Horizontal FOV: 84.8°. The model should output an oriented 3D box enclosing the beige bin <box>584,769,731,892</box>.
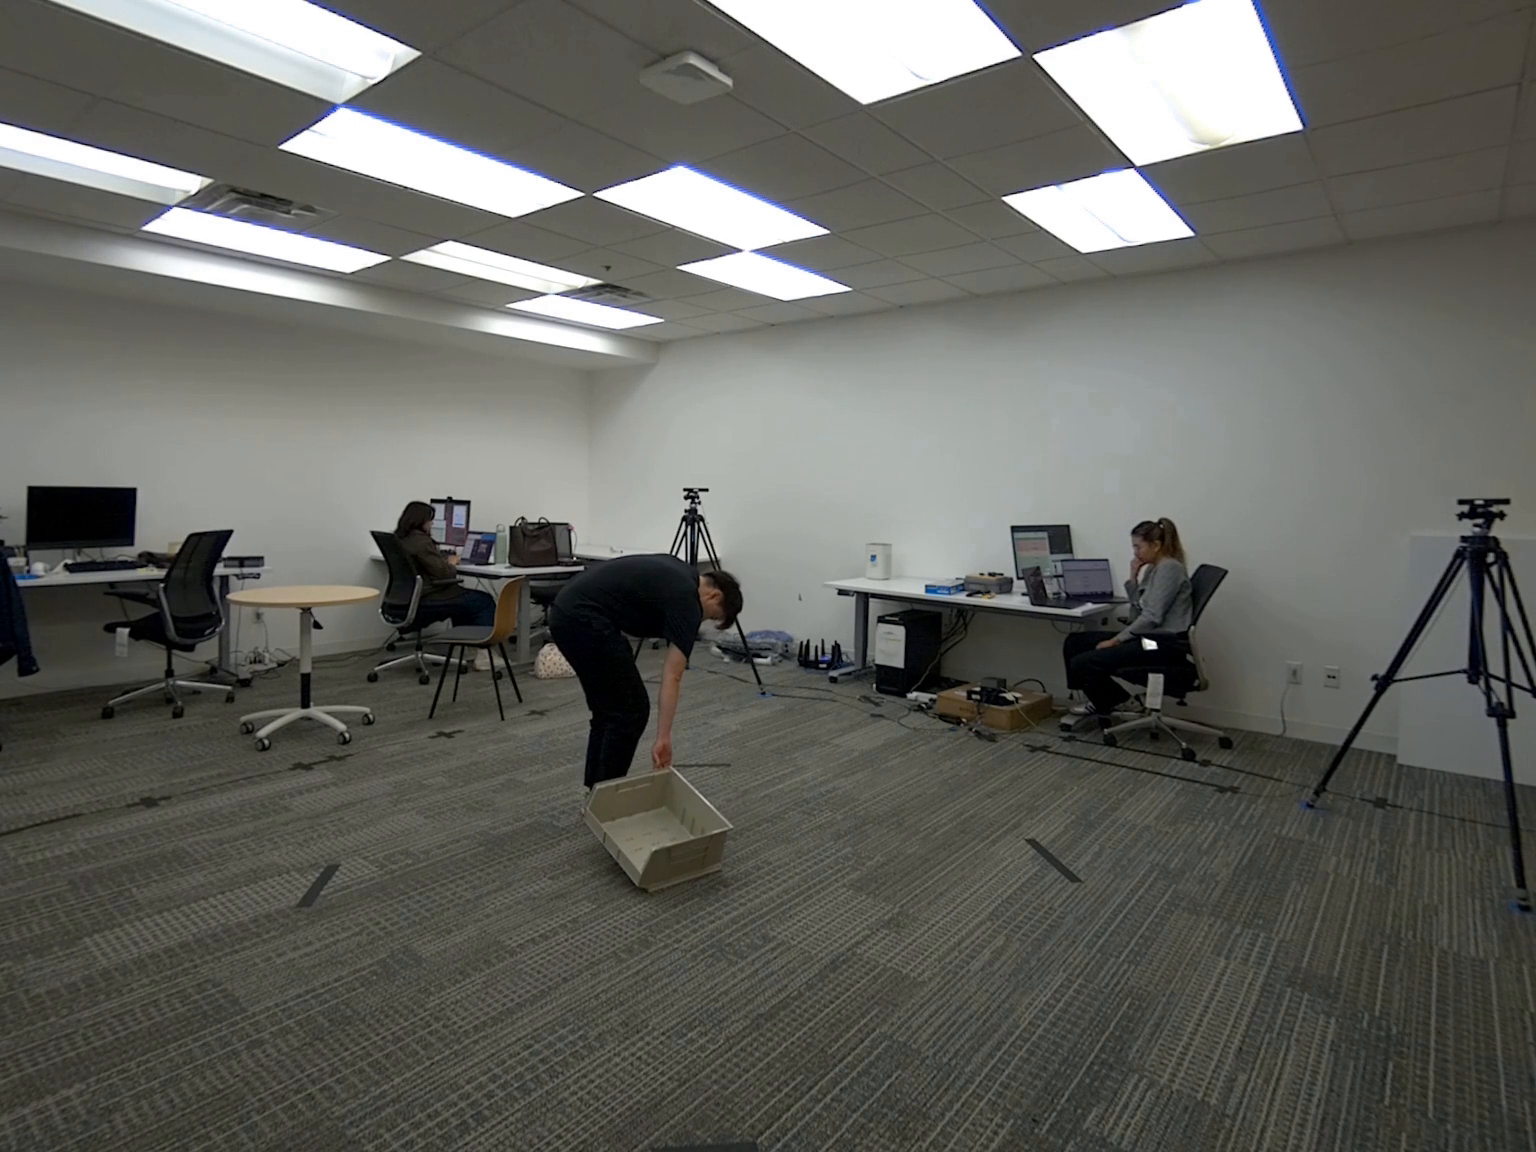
[{"bbox_3d":[-0.425,0.924,3.131,0.366,0.187,0.440,-3,20,-39],"label":"beige bin"}]
